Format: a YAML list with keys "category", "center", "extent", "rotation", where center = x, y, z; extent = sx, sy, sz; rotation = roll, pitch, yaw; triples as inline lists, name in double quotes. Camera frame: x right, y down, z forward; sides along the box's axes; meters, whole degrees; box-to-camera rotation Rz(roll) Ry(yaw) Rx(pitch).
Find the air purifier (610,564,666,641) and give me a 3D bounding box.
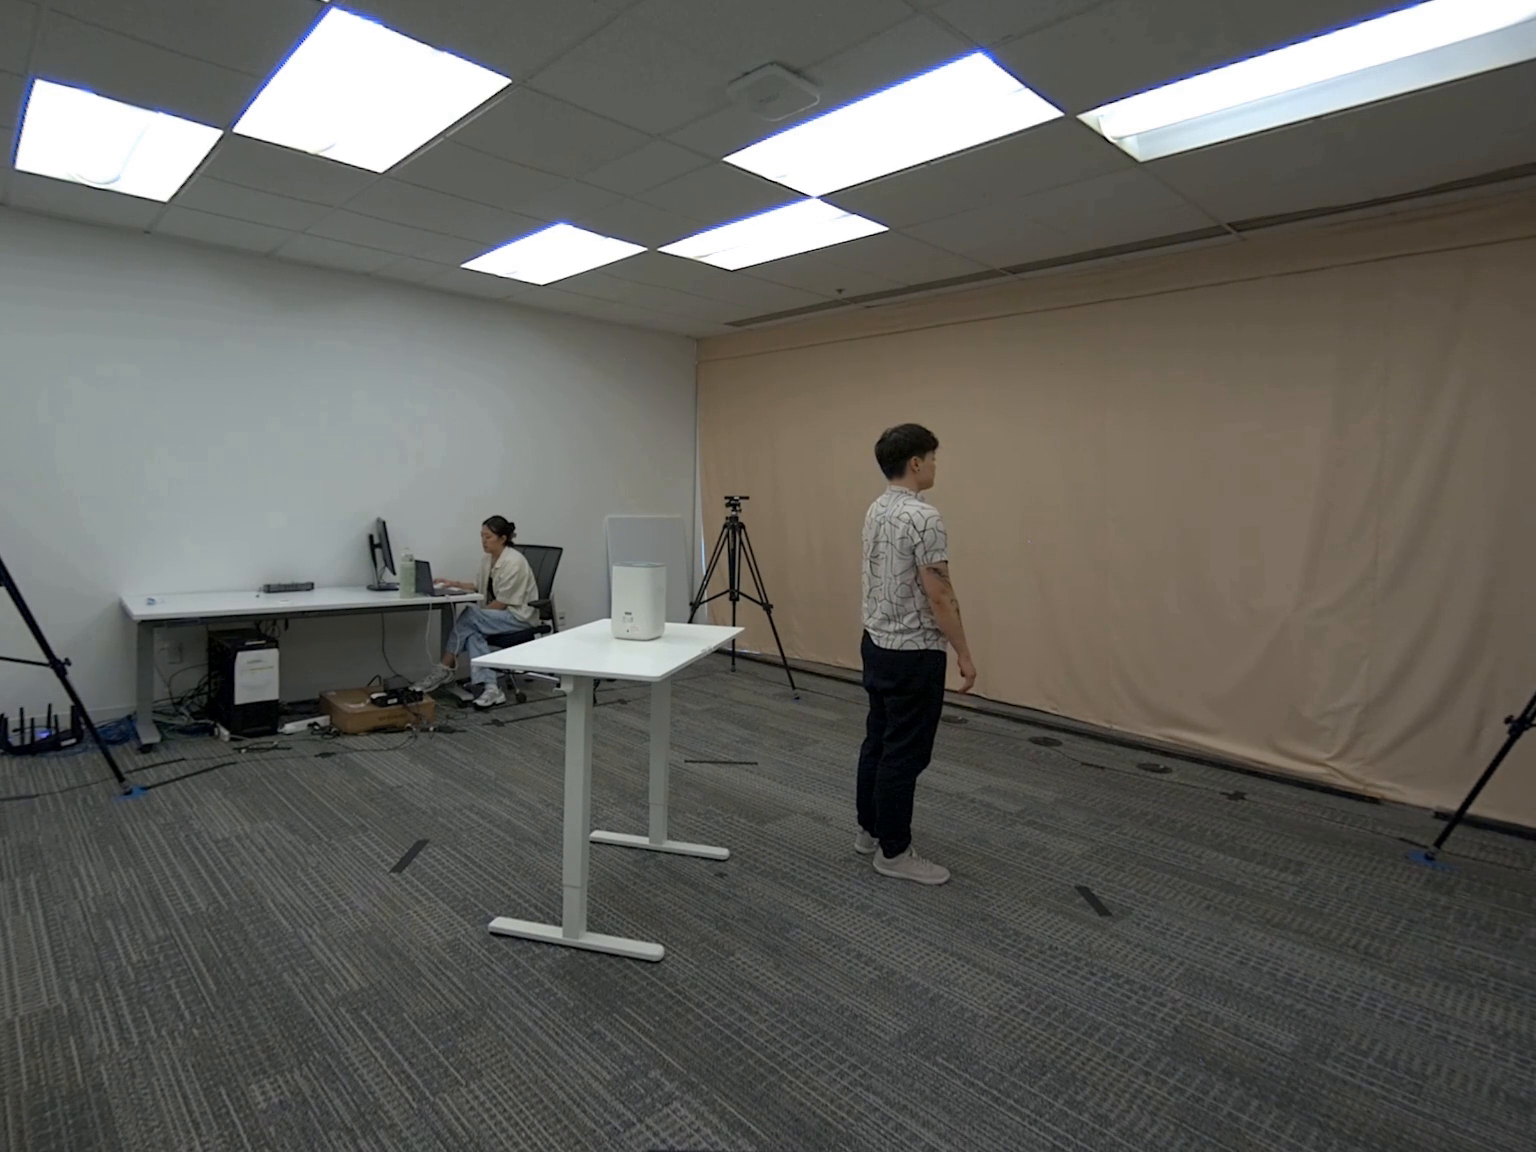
- category: "air purifier"
  center: [-0.476, 0.092, 3.013]
  extent: [0.172, 0.265, 0.170]
  rotation: [2, 3, 10]
